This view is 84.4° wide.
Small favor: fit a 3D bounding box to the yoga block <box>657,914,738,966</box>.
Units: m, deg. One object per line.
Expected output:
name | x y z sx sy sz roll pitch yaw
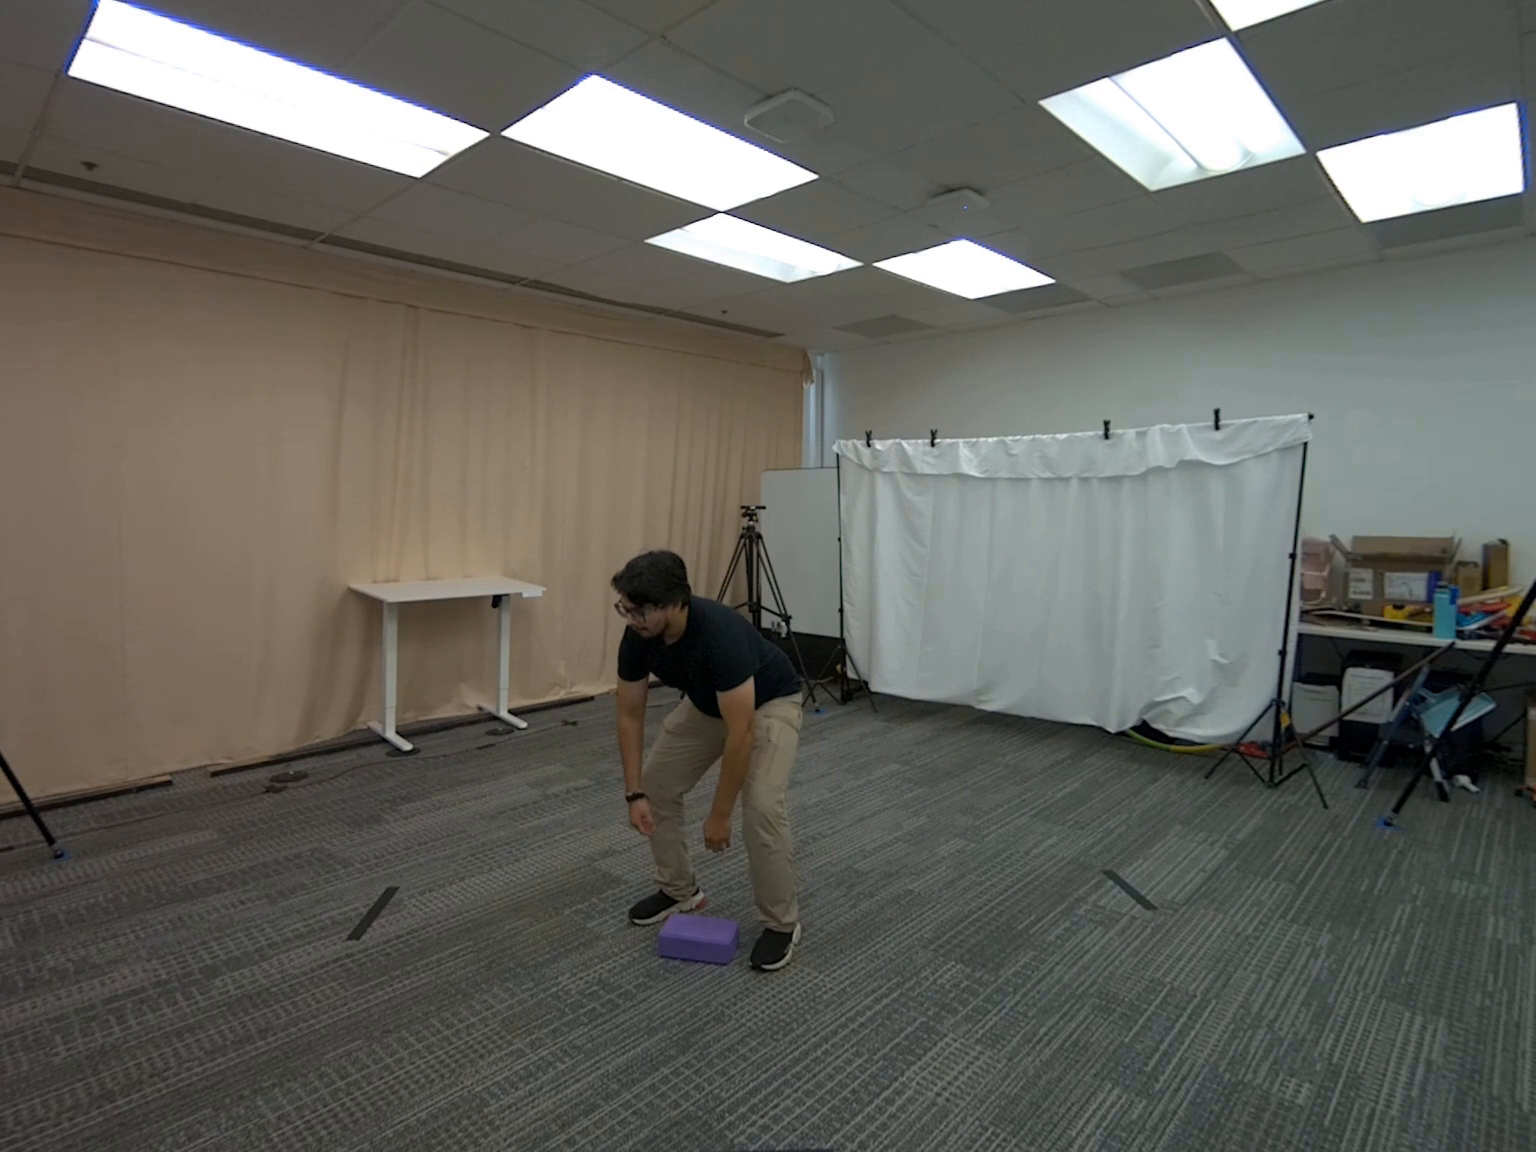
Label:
yoga block | -0.210 1.138 2.636 0.232 0.076 0.147 1 3 12
